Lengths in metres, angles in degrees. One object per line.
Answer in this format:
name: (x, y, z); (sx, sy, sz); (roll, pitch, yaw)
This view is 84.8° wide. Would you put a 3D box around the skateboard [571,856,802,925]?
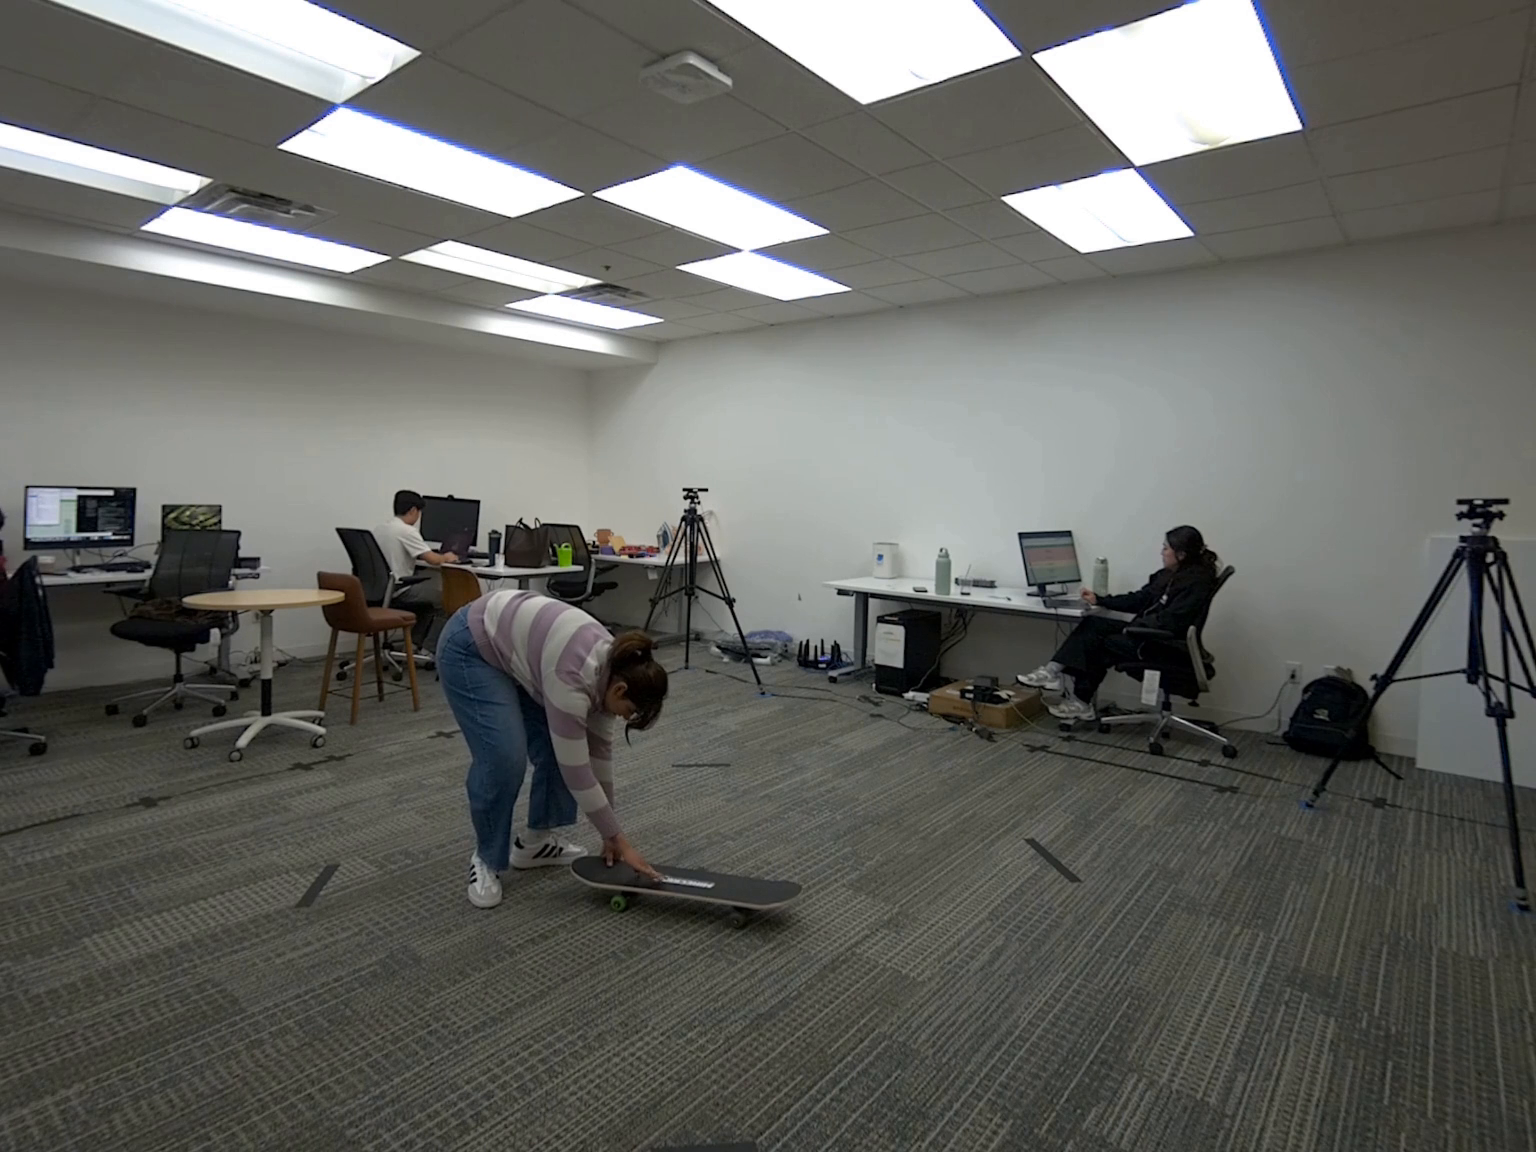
skateboard: (-0.292, 1.041, 2.815); (0.796, 0.110, 0.191); (2, 4, 12)
